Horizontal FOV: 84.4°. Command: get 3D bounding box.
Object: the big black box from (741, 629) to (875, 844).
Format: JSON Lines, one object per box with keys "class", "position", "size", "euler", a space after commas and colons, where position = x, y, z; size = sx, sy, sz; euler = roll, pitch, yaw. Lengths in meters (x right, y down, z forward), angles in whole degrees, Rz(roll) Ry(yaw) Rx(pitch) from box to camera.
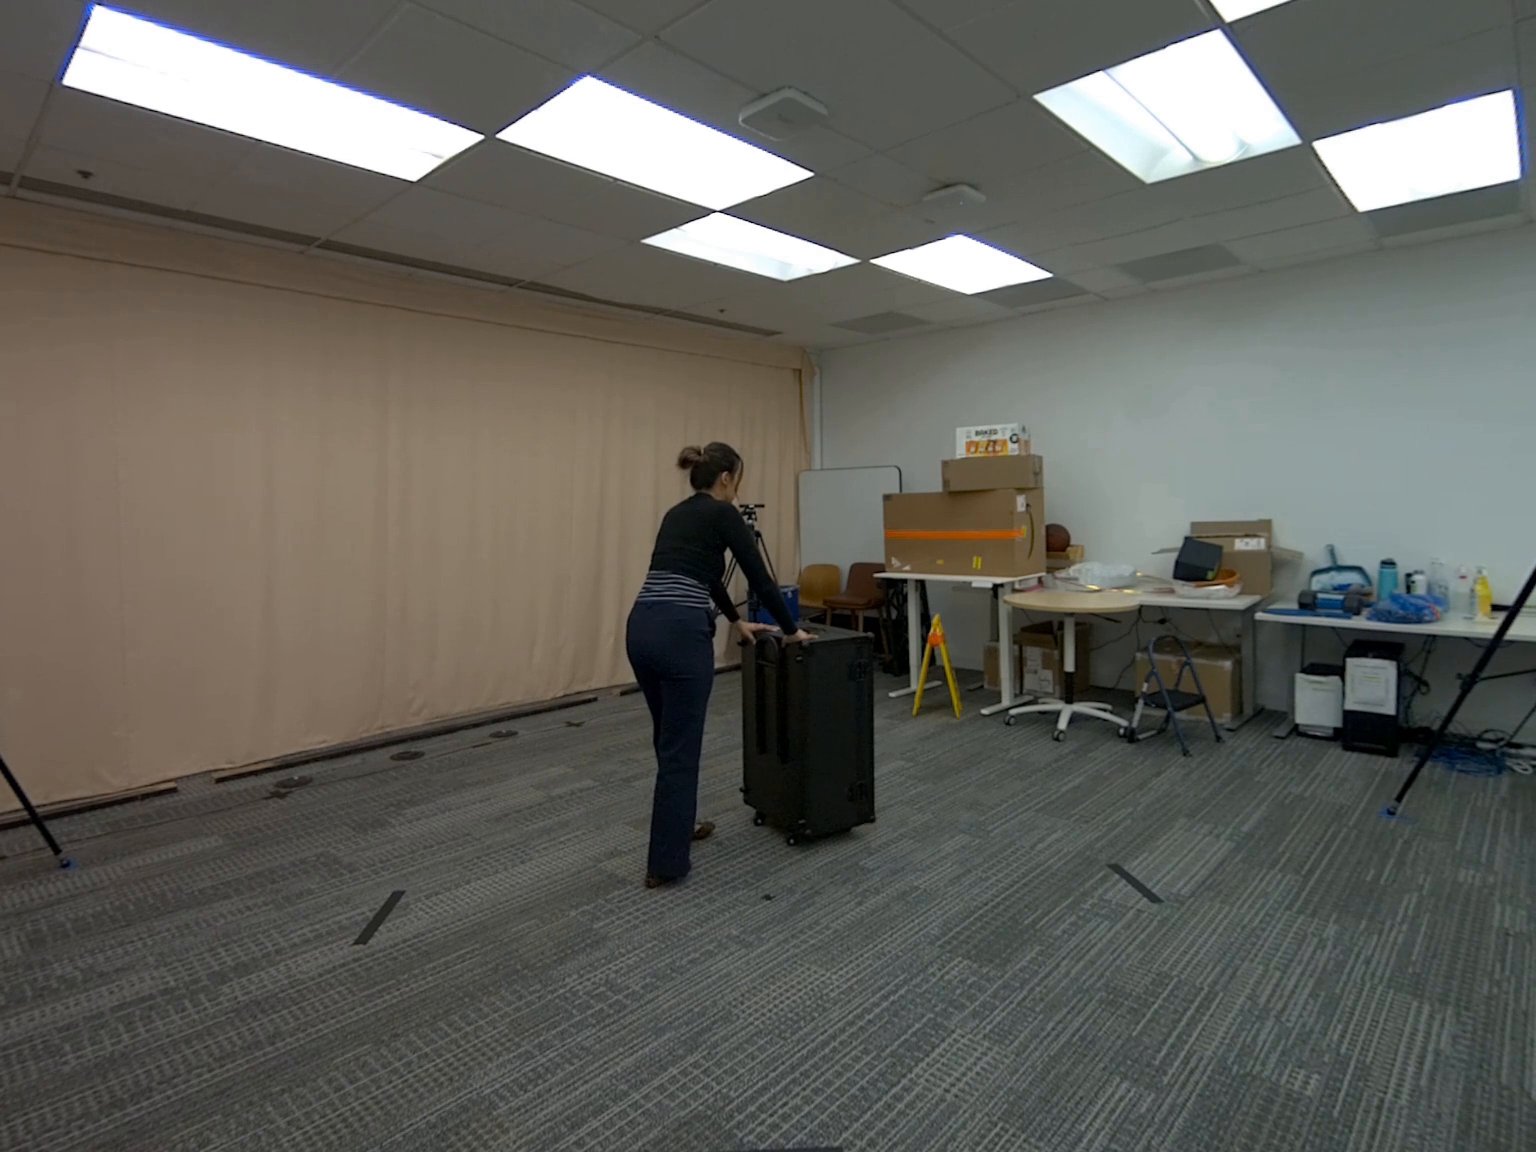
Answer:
{"class": "big black box", "position": [0.161, 0.661, 3.584], "size": [0.386, 0.859, 0.536], "euler": [-3, 4, -31]}
